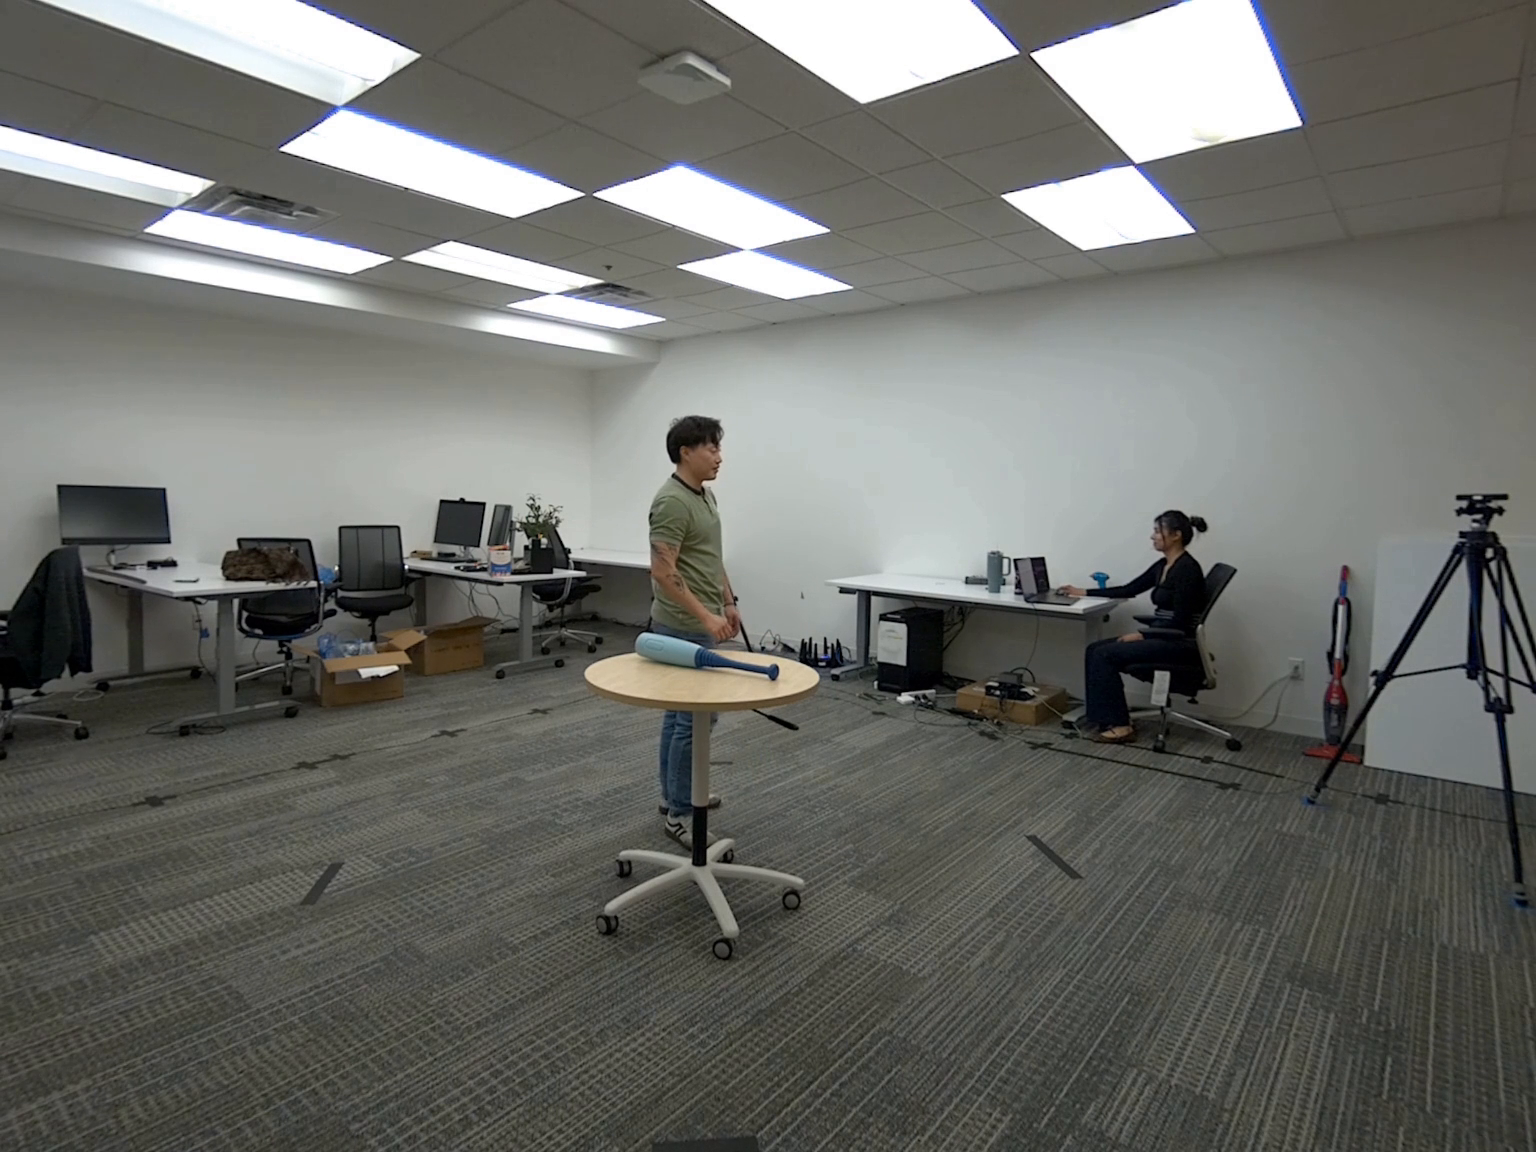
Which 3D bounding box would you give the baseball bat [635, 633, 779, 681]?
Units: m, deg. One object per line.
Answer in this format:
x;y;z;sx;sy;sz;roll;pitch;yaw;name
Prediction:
-0.217;0.271;2.837;0.560;0.088;0.087;8;7;30;baseball bat
